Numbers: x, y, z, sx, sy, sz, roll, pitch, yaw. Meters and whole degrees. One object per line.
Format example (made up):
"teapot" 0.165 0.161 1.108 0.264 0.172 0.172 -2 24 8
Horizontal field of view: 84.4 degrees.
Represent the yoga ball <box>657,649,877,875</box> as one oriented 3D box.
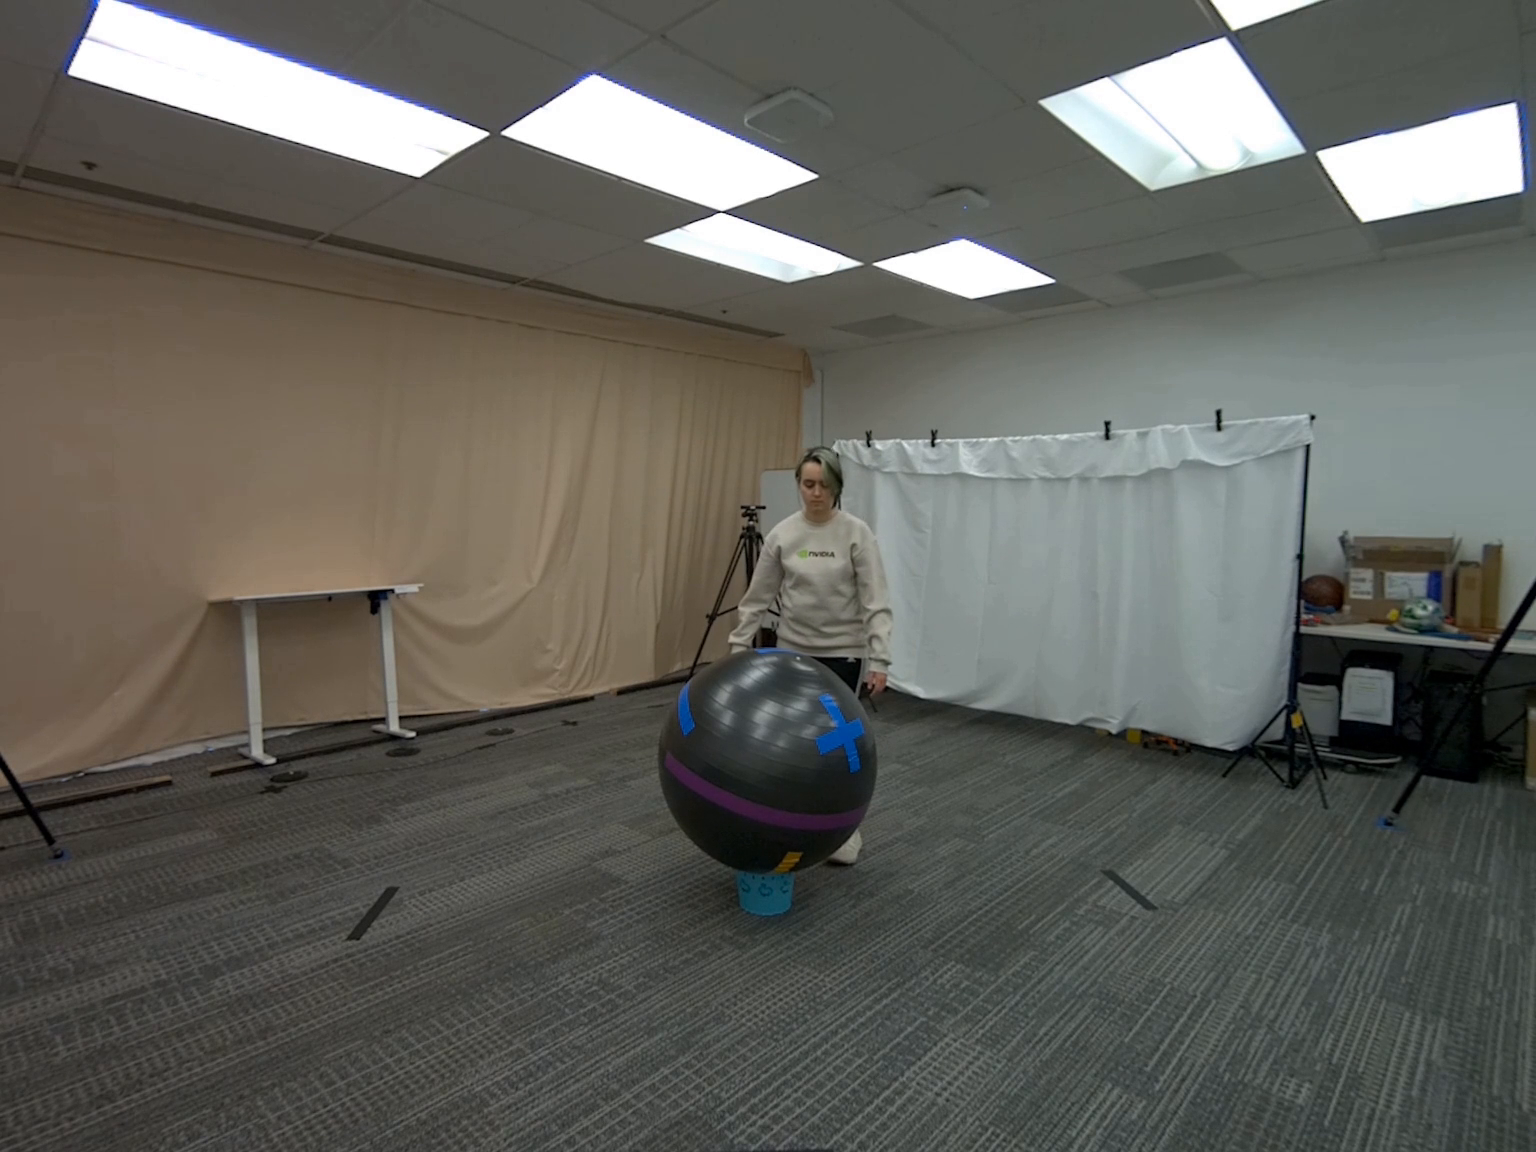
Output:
"yoga ball" -0.005 0.634 2.929 0.757 0.756 0.760 0 4 -2
